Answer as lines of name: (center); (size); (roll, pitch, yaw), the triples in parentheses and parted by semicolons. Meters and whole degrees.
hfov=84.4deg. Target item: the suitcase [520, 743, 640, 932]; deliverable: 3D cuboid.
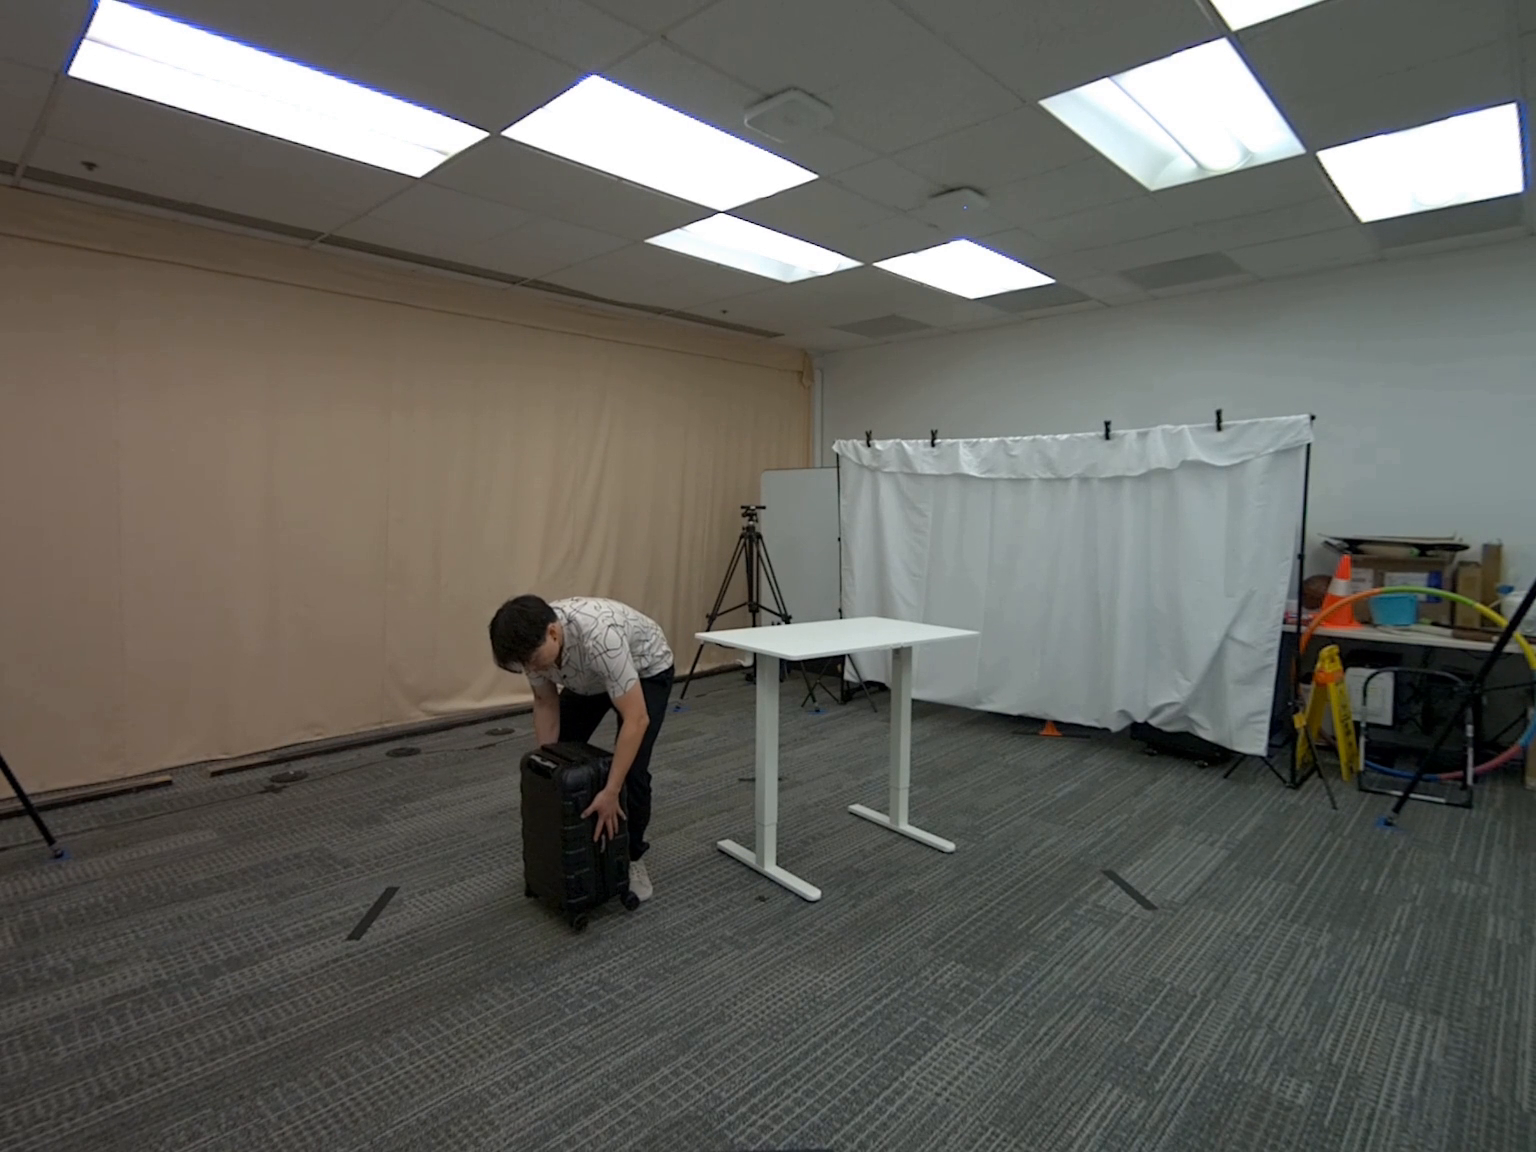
suitcase: (-0.666, 0.853, 2.892); (0.241, 0.548, 0.388); (-5, 6, -44)
